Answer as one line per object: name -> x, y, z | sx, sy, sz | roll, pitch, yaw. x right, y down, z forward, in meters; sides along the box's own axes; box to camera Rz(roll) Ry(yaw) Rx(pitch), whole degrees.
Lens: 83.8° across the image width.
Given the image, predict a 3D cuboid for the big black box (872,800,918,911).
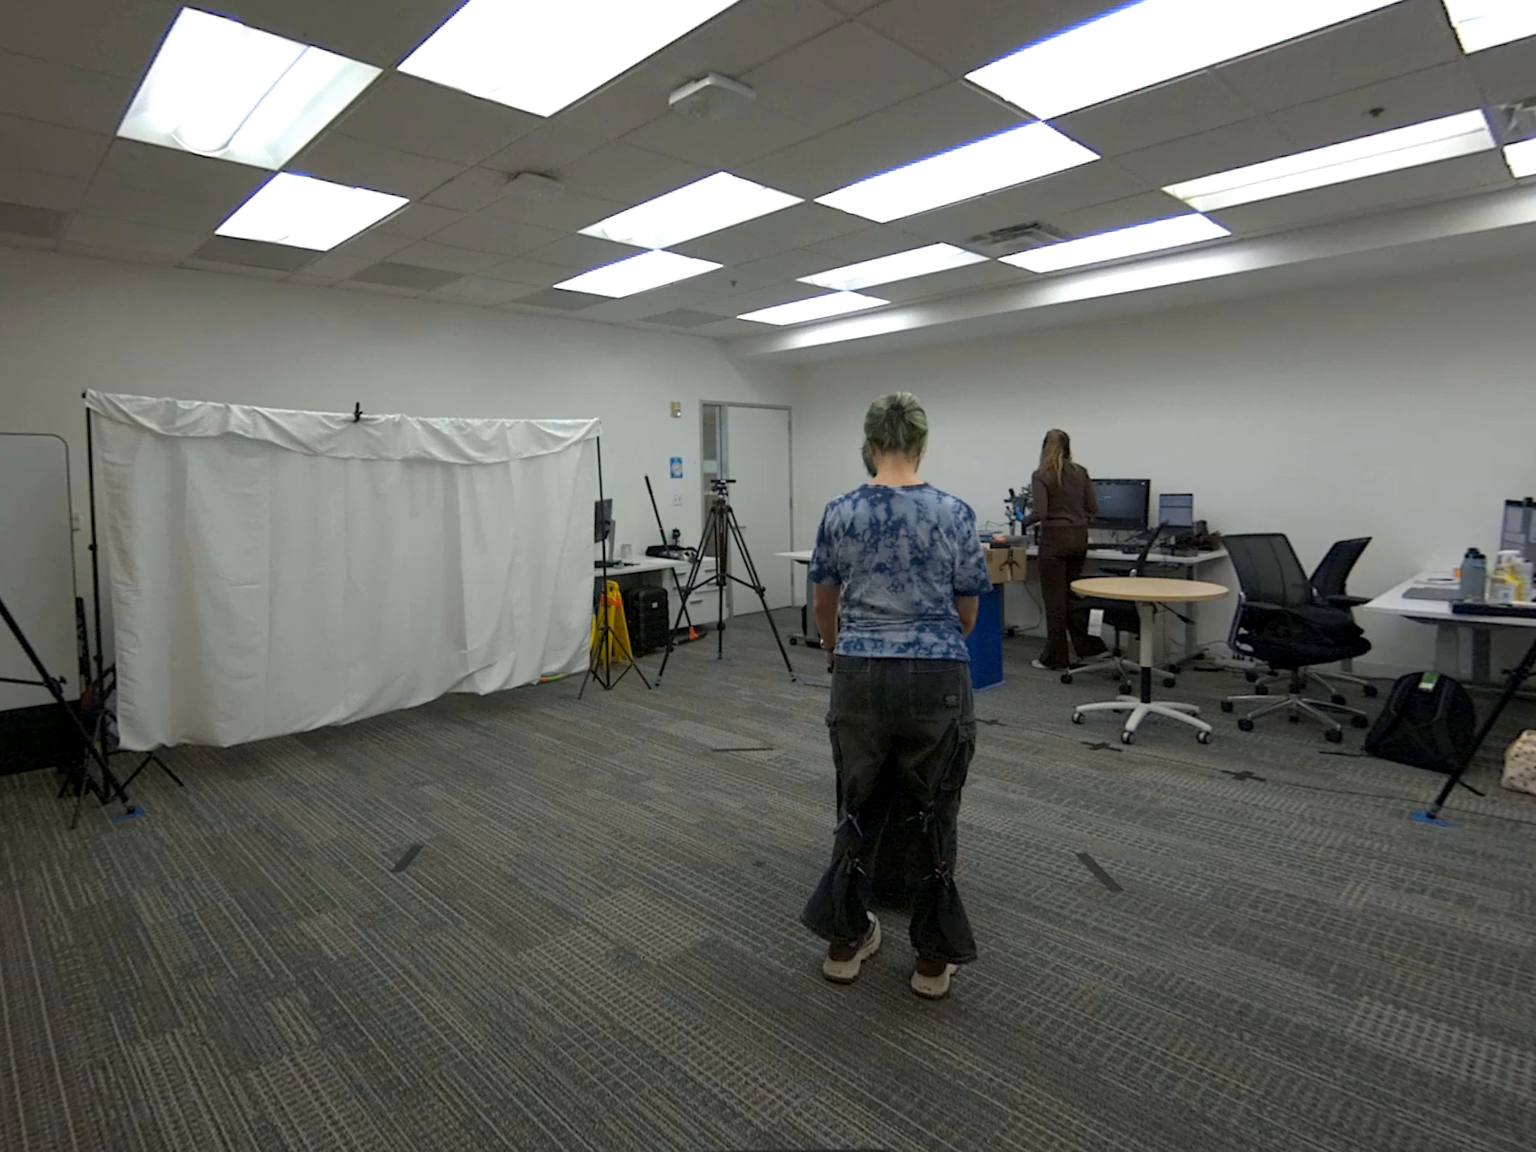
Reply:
big black box -> 0.444, 0.641, 2.926 | 0.402, 0.858, 0.516 | 0, 5, 14
